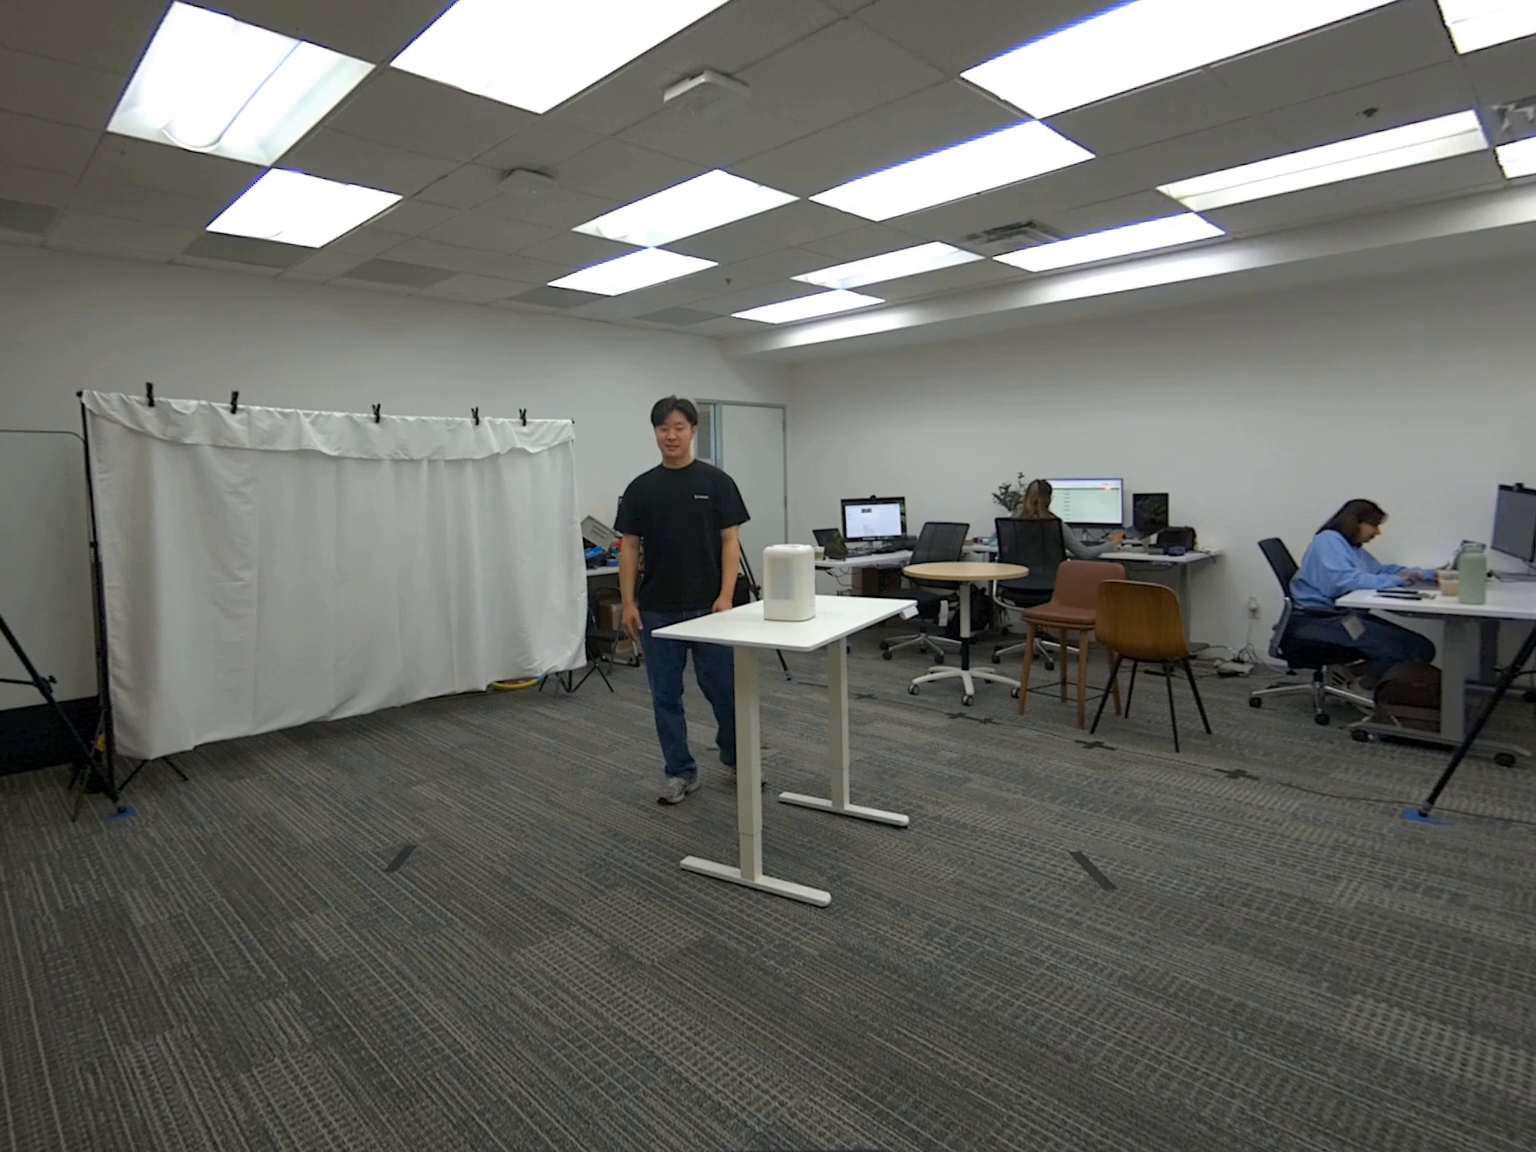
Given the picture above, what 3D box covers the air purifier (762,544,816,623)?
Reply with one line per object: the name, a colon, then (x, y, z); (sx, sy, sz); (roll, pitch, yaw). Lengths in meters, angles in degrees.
air purifier: (0.080, 0.023, 3.125); (0.175, 0.264, 0.168); (0, 5, 25)
